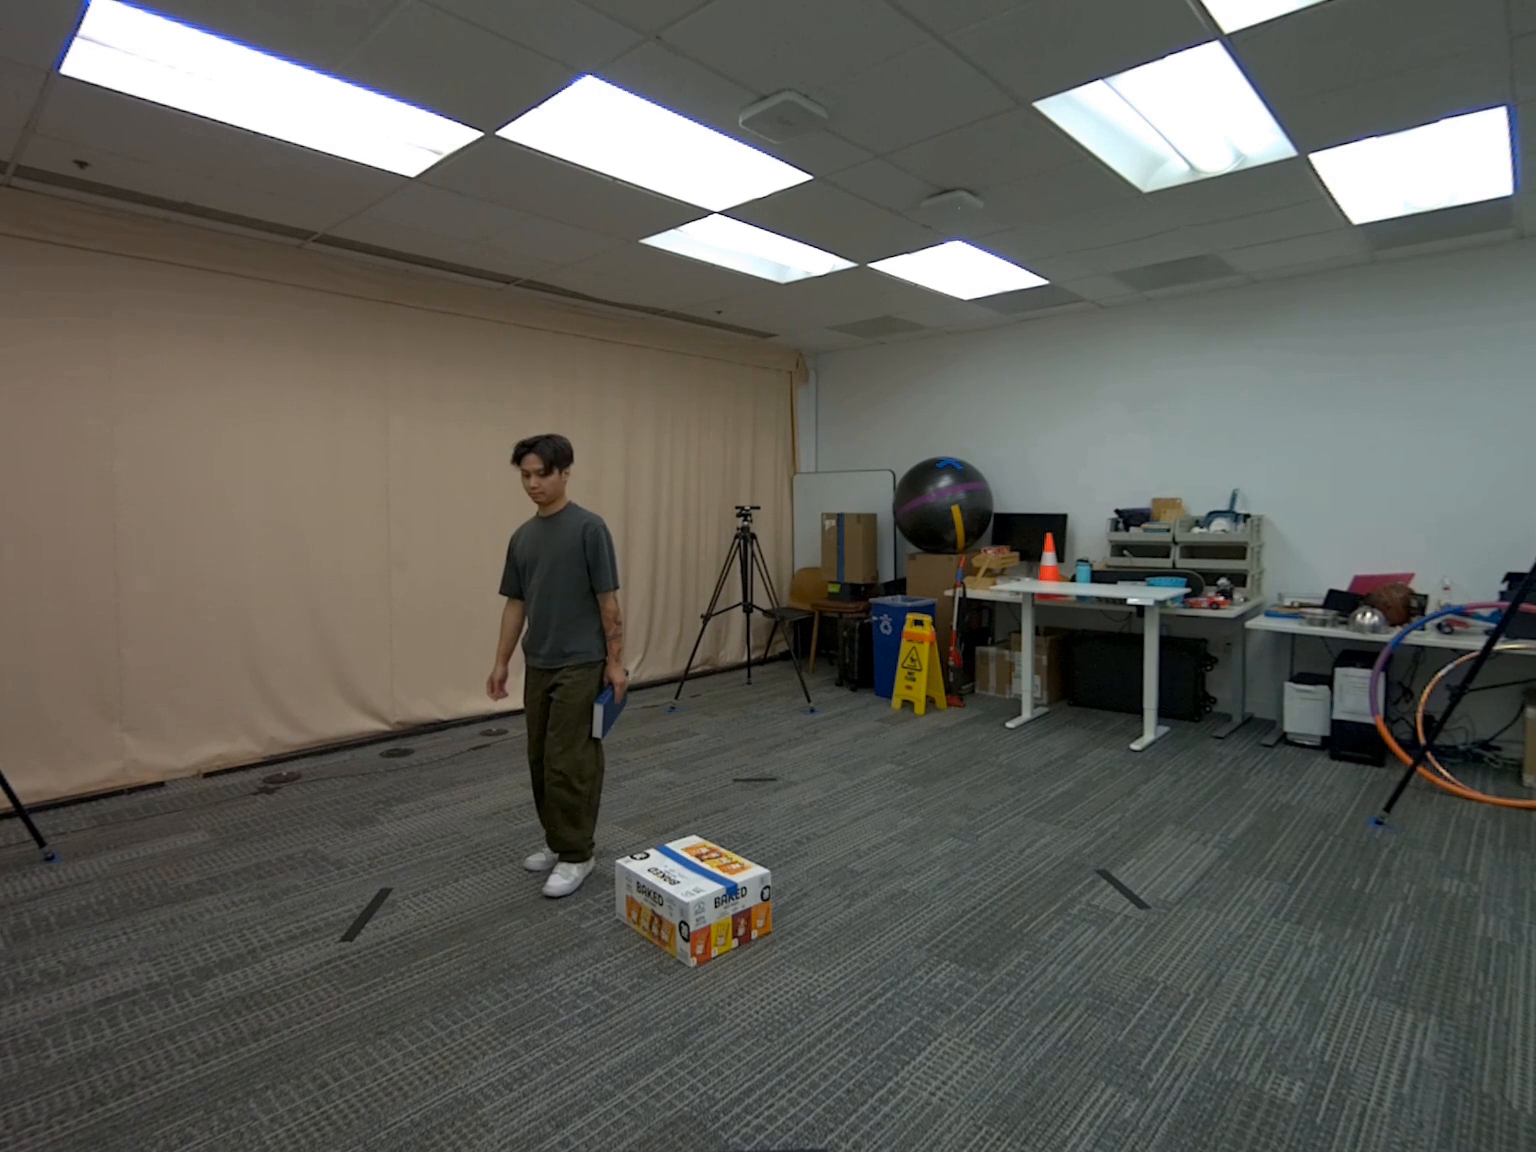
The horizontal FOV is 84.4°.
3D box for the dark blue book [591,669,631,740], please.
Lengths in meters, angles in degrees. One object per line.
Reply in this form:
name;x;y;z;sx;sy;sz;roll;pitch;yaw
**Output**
dark blue book;-0.593;0.484;3.170;0.045;0.161;0.246;8;24;5
